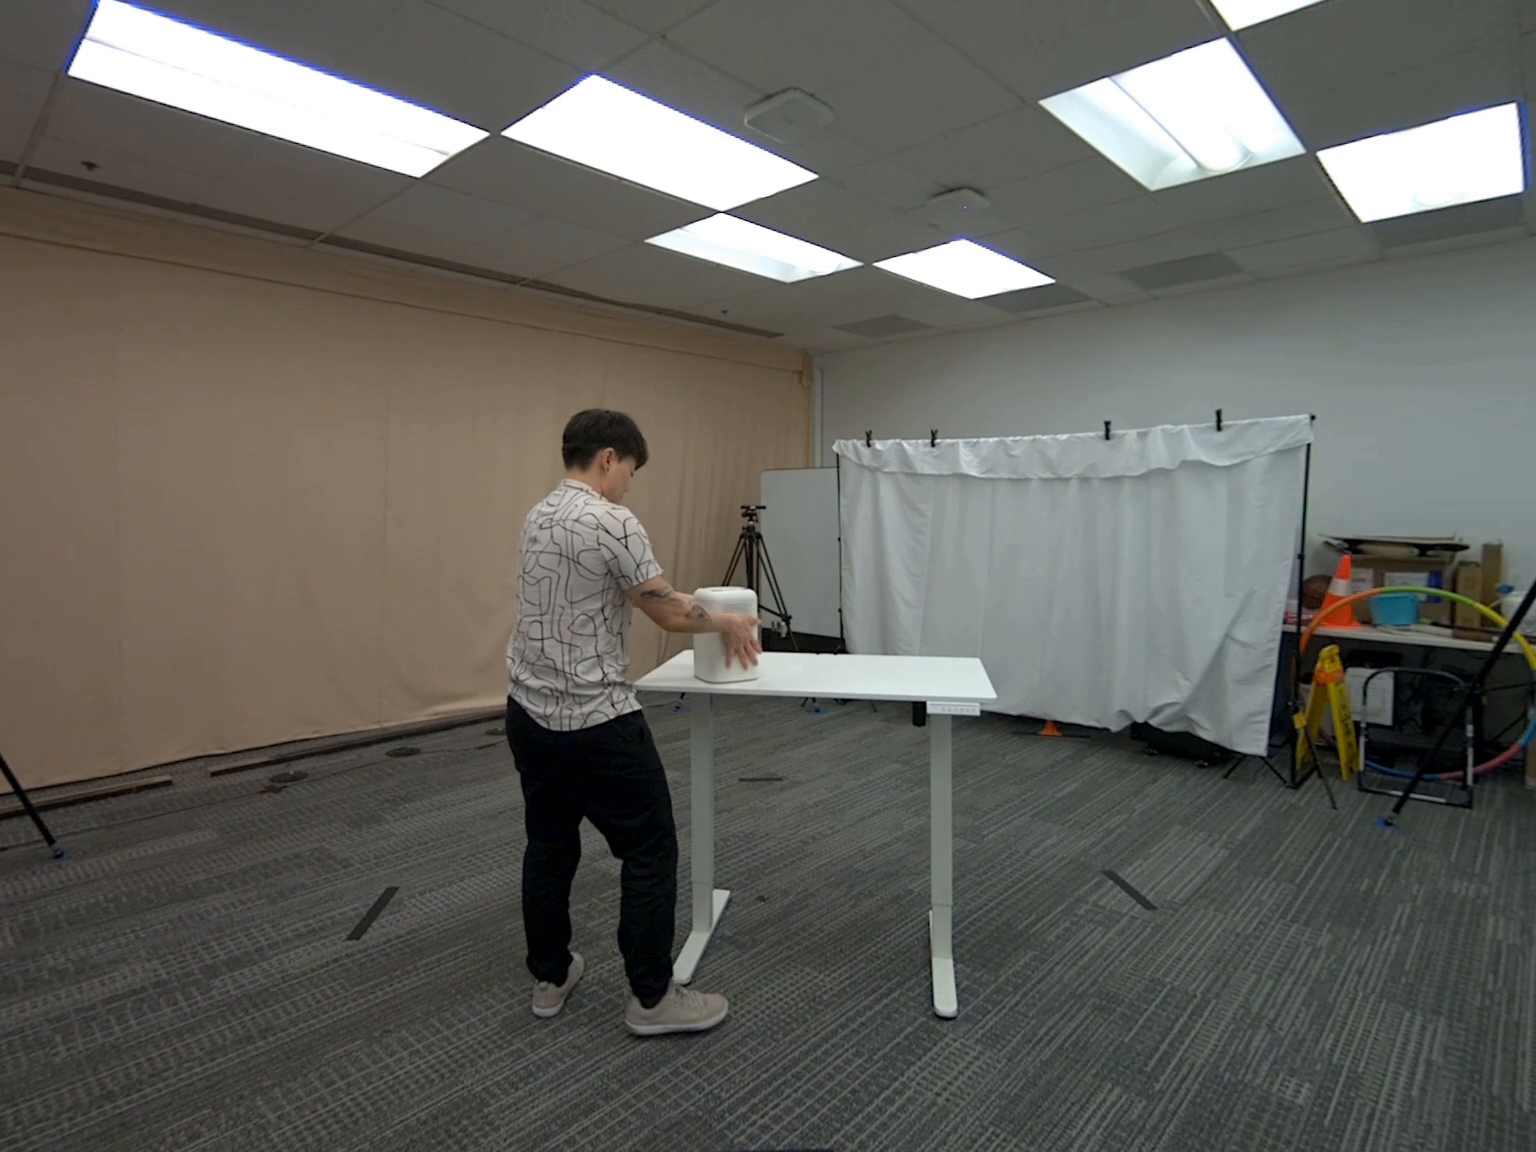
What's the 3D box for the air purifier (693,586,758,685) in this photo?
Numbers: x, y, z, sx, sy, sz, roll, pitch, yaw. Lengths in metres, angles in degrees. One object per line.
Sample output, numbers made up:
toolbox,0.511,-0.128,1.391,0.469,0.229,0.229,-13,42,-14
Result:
air purifier,-0.124,0.172,2.504,0.168,0.264,0.175,-6,5,-22
